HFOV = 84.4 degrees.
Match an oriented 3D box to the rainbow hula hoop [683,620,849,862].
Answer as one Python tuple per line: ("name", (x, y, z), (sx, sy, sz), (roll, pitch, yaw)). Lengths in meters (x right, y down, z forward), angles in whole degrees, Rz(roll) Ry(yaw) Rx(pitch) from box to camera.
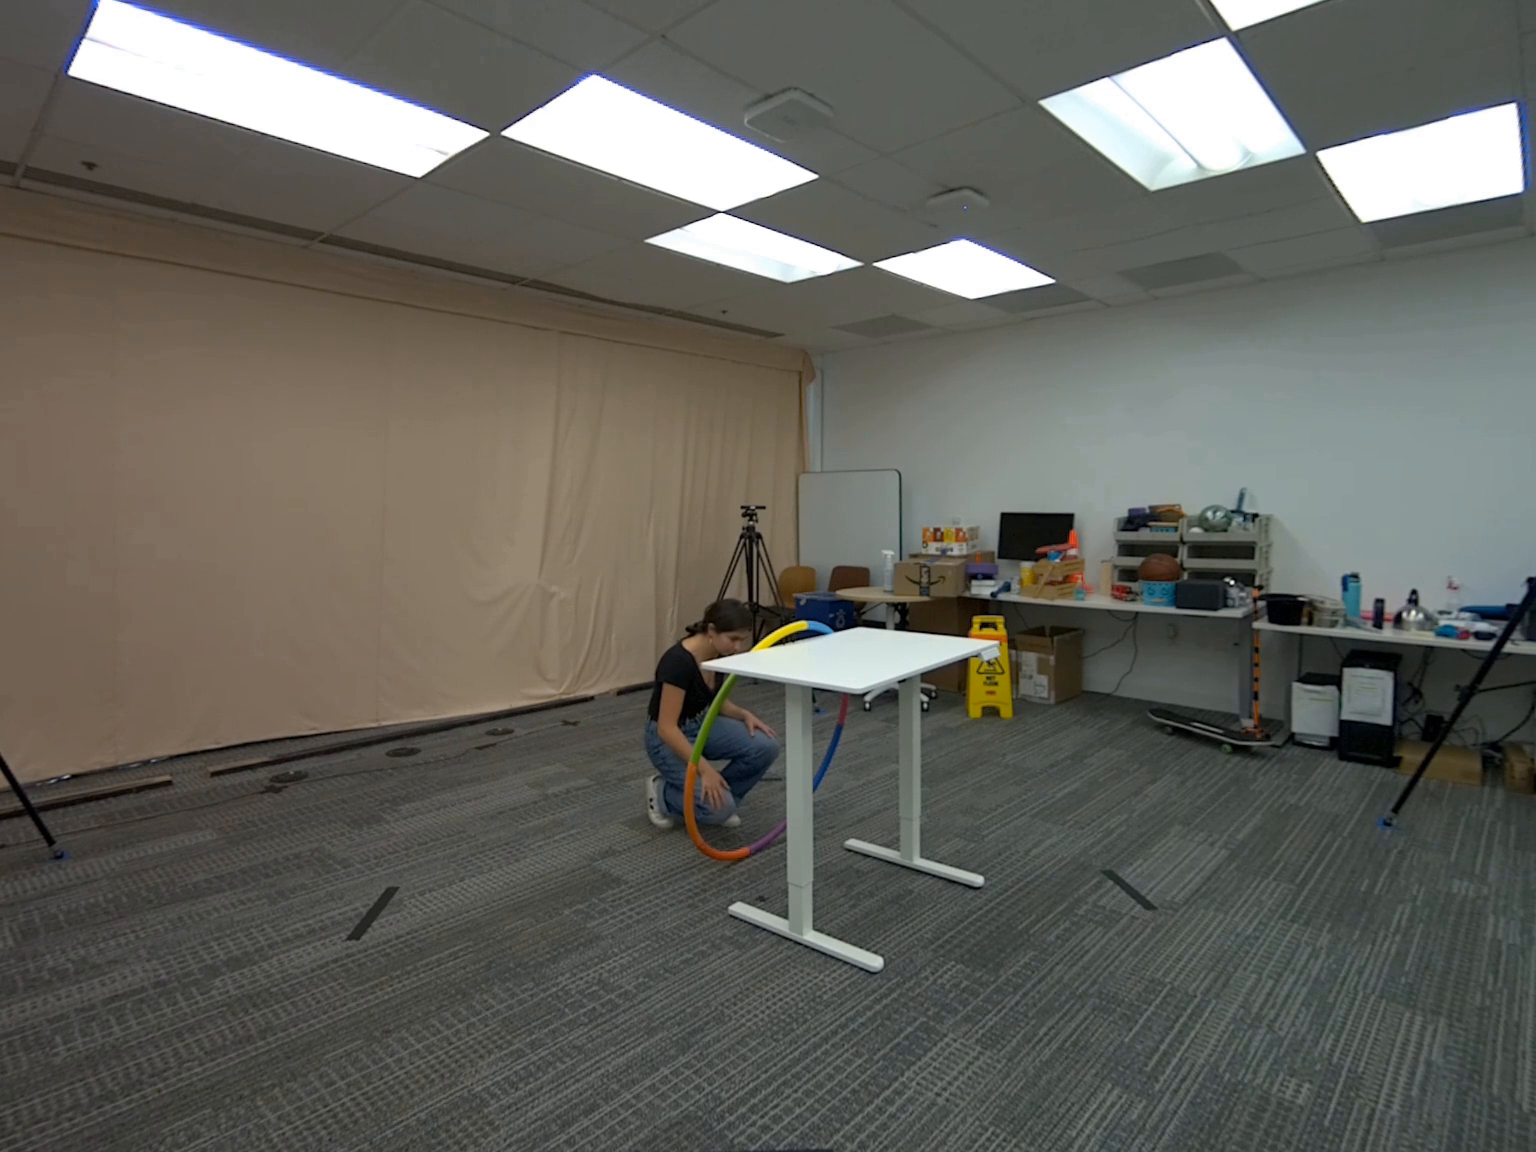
("rainbow hula hoop", (0.022, 0.642, 3.285), (0.037, 0.973, 0.949), (21, 16, 36))
